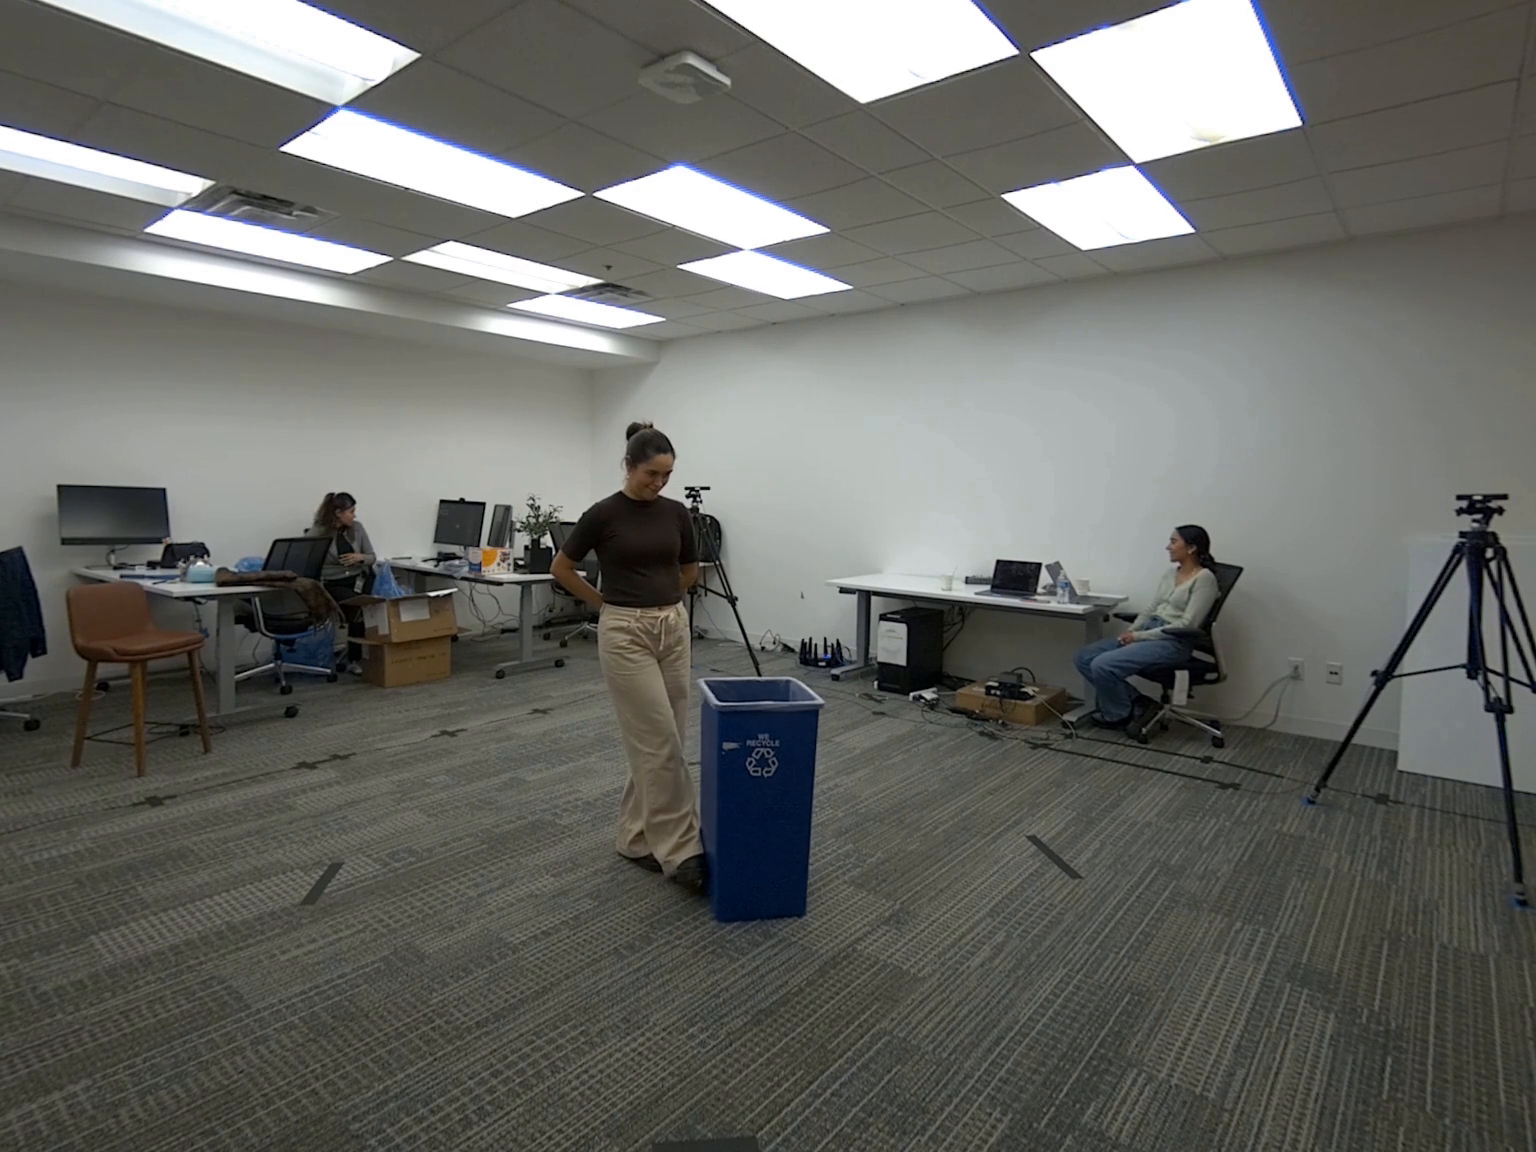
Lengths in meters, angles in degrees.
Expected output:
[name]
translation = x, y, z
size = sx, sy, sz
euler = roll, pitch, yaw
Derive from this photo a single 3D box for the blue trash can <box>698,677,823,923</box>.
[blue trash can]
translation = -0.053, 0.732, 2.860
size = 0.373, 0.712, 0.380
euler = 1, 3, -14
